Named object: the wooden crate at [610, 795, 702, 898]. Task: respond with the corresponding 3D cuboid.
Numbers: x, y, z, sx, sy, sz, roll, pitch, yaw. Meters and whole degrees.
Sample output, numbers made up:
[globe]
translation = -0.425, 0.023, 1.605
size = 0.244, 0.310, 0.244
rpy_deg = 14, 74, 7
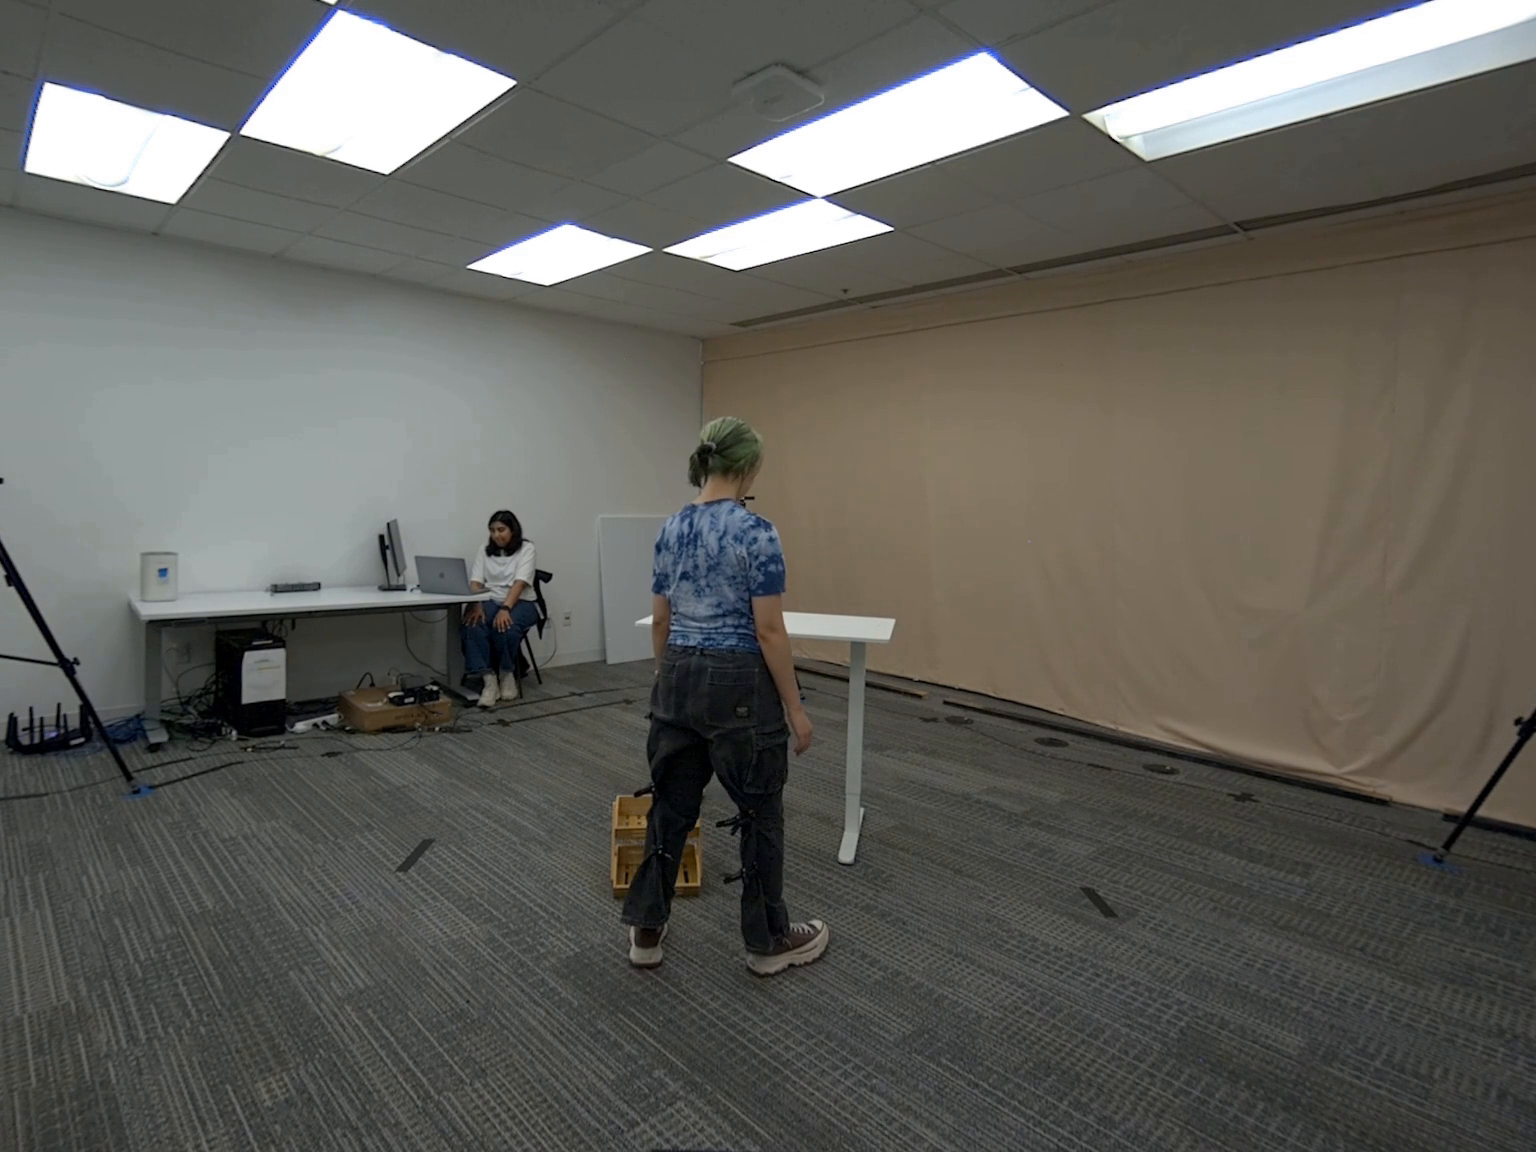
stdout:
[wooden crate]
translation = -0.410, 0.969, 3.044
size = 0.322, 0.272, 0.305
rpy_deg = 1, 4, -8
